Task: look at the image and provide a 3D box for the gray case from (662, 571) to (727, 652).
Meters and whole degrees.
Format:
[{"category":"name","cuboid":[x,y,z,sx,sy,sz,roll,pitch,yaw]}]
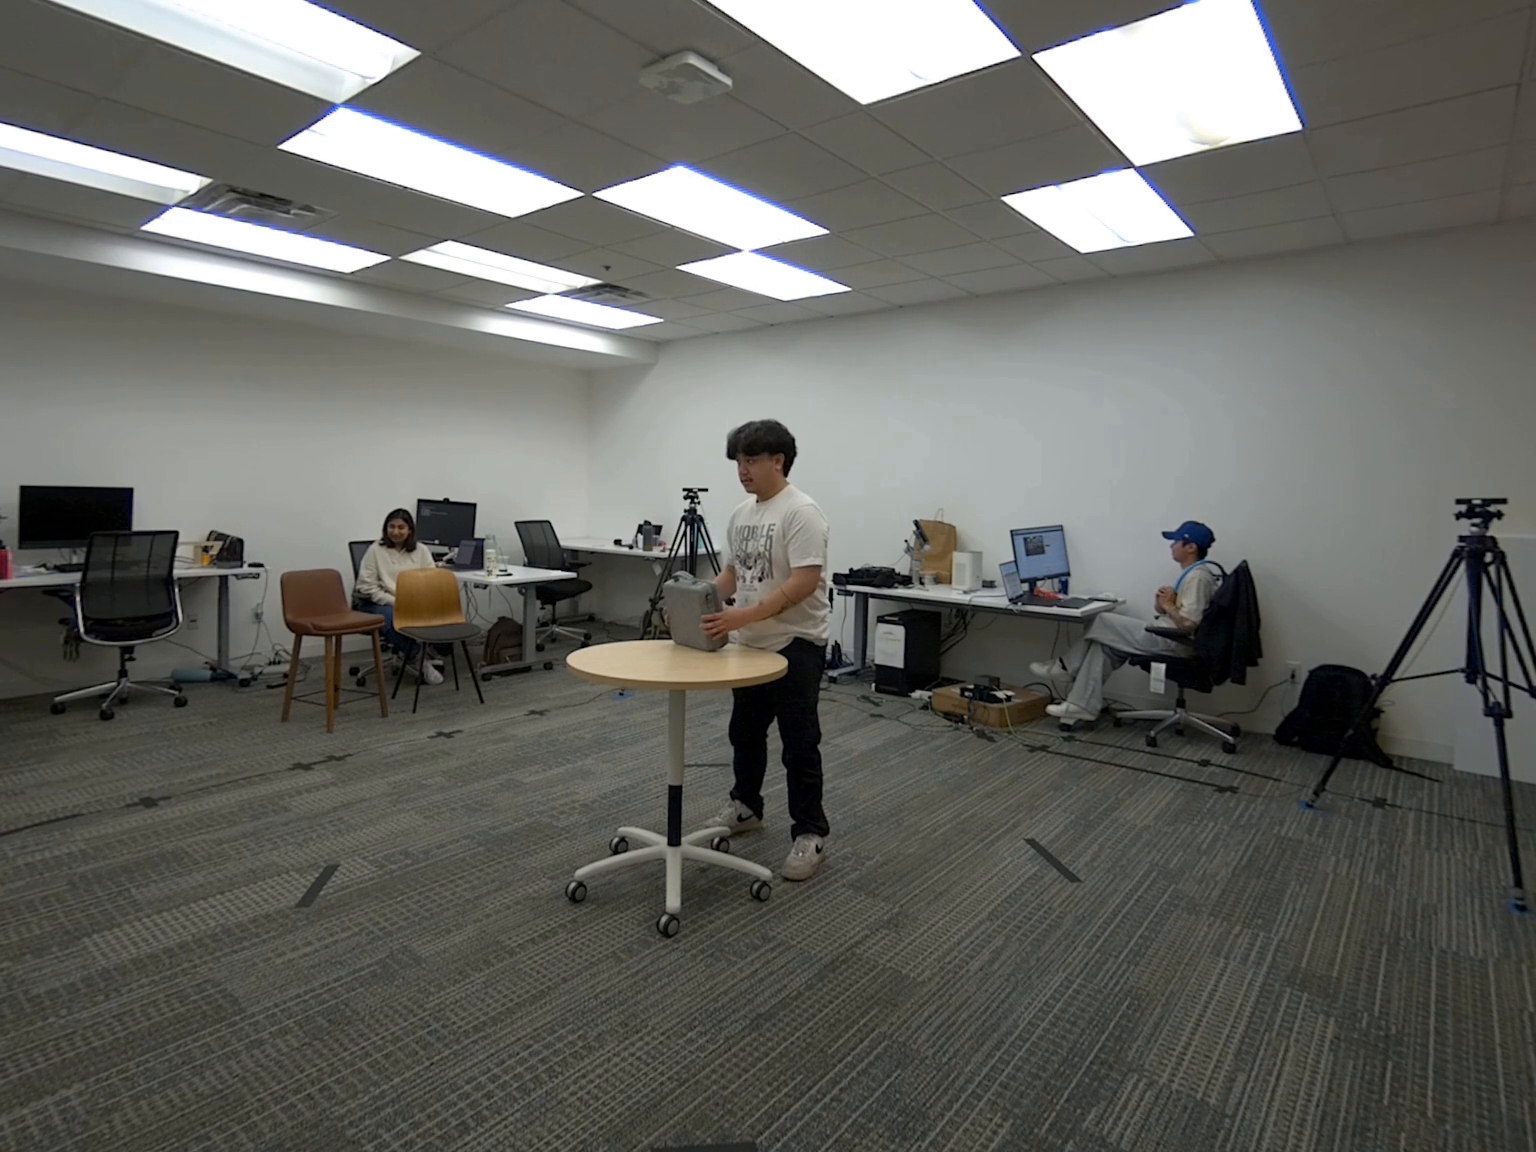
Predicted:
[{"category":"gray case","cuboid":[-0.288,0.129,3.184,0.102,0.257,0.265,-19,14,-36]}]
